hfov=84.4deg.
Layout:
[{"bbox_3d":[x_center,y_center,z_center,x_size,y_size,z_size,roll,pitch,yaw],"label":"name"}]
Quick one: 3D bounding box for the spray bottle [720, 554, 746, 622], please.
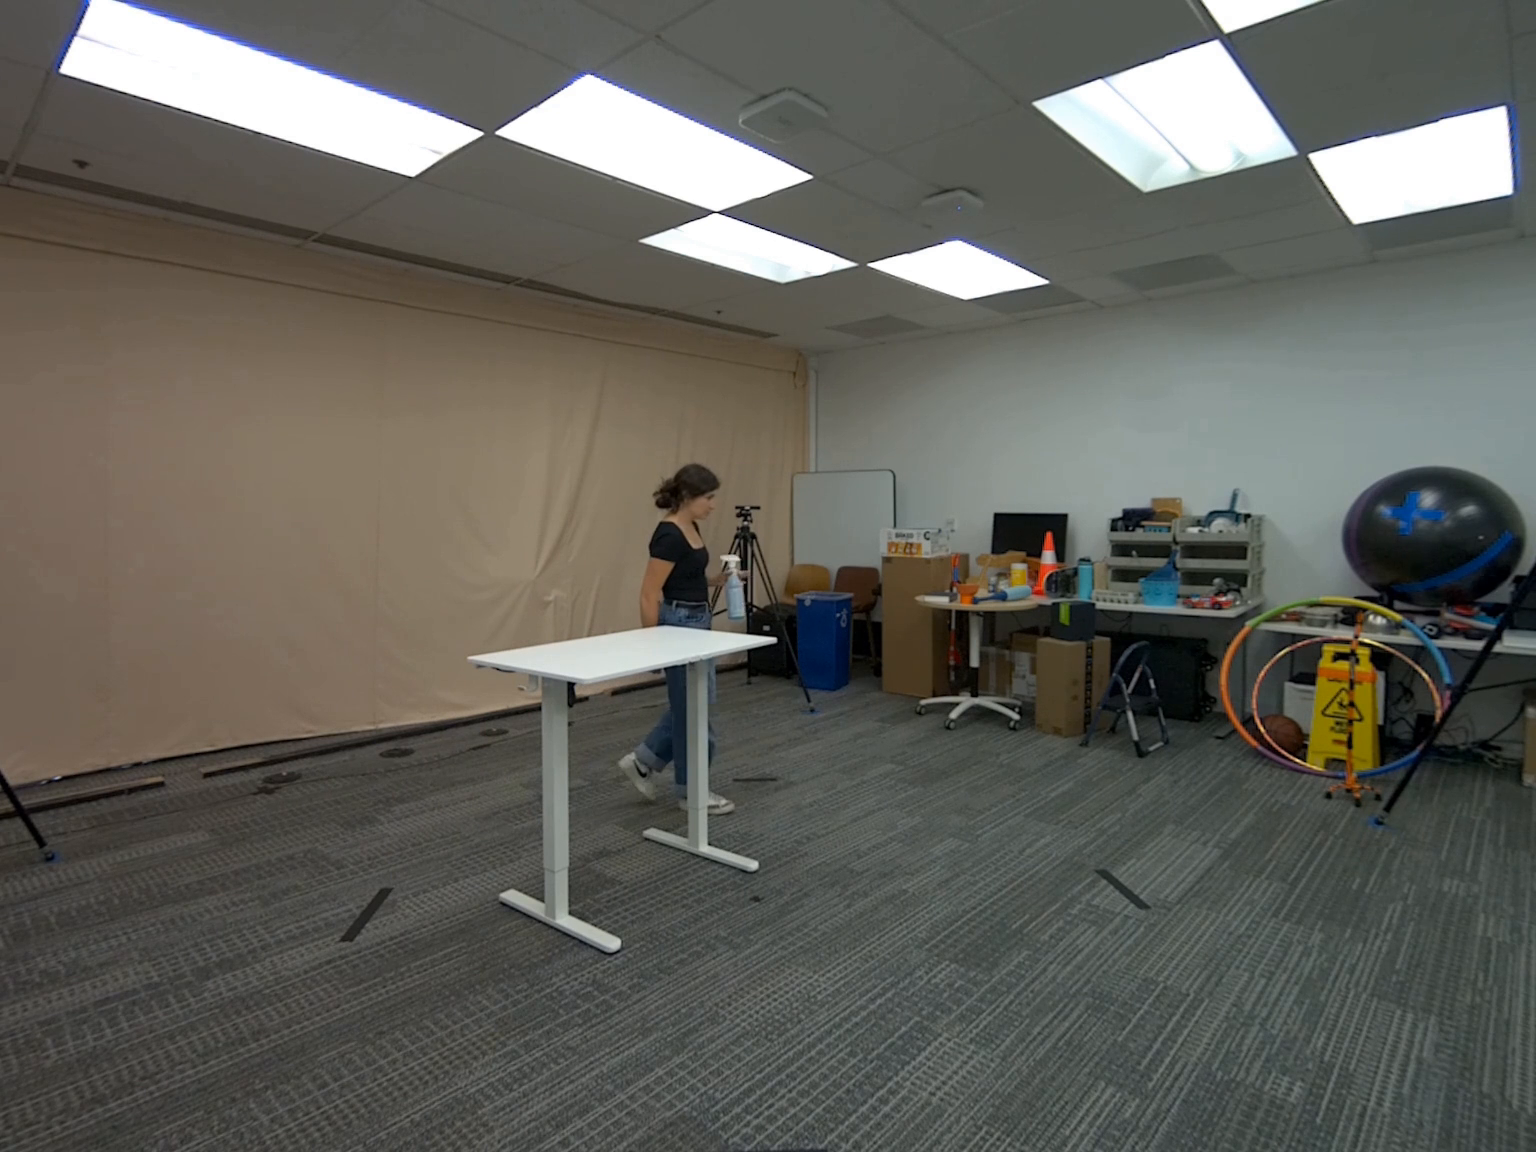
[{"bbox_3d":[-0.162,0.052,3.866,0.092,0.296,0.085,-6,4,21],"label":"spray bottle"}]
